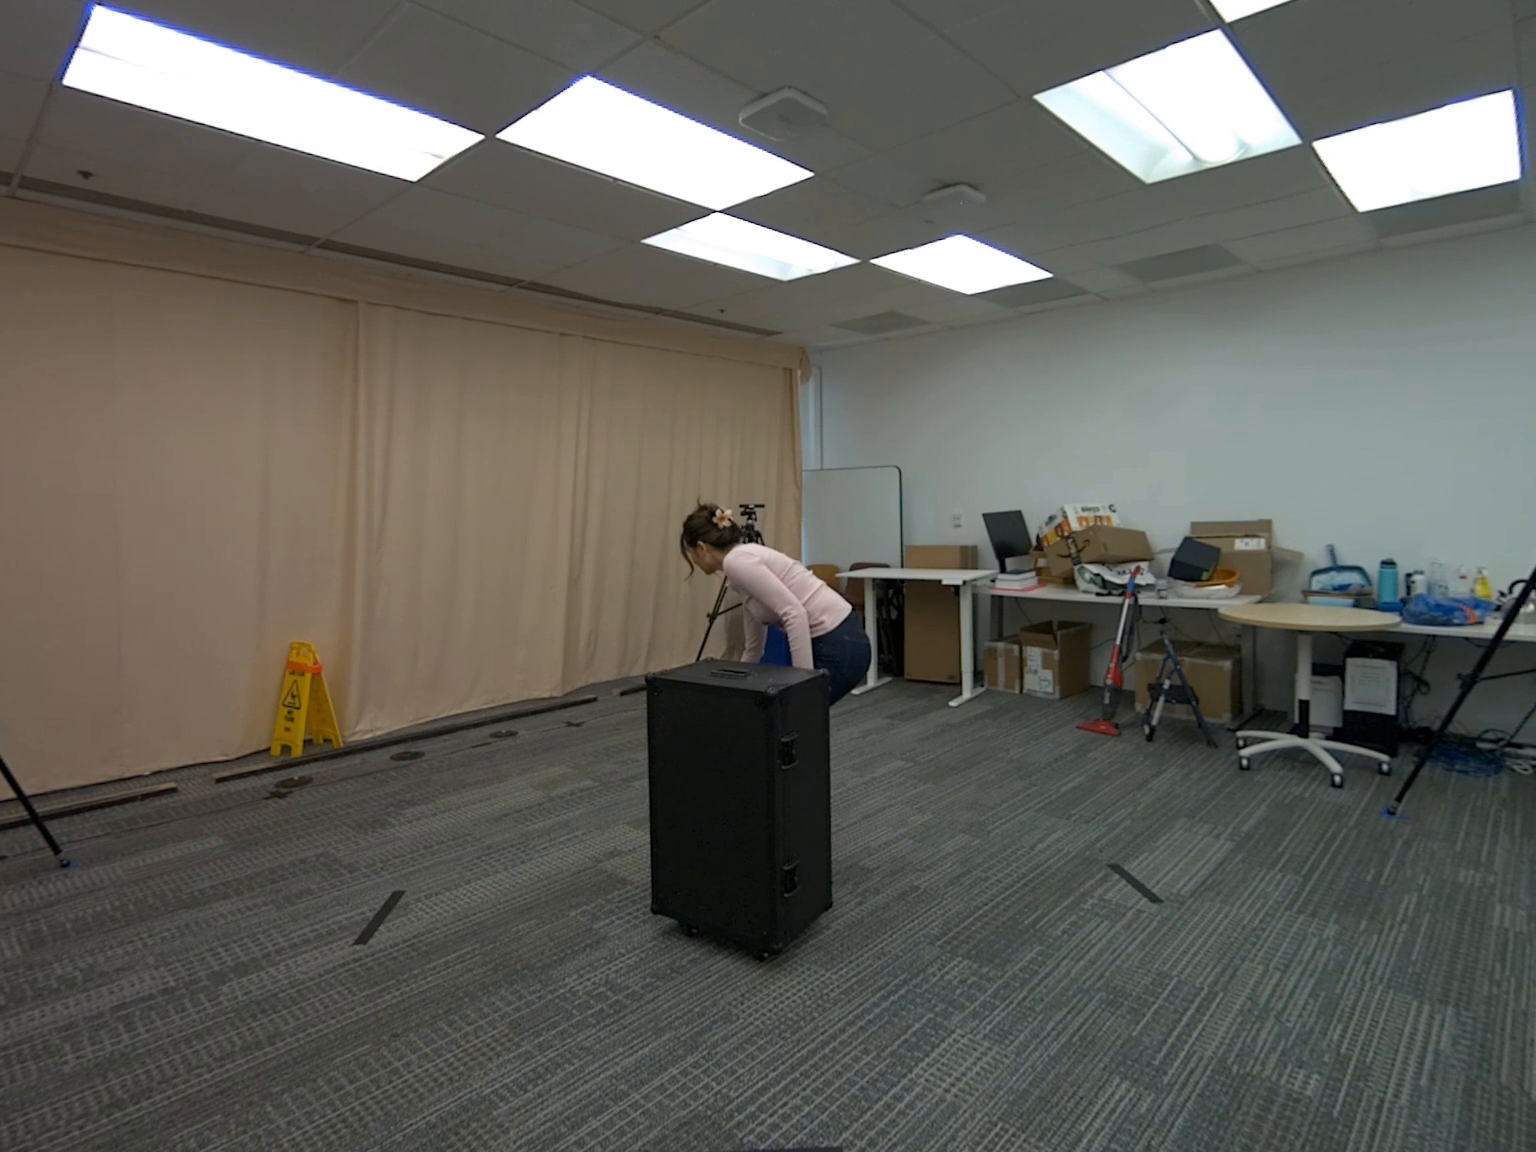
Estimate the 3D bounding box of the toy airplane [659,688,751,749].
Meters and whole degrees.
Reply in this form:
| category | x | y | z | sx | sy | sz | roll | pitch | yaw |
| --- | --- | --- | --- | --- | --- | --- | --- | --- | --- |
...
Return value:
| category | x | y | z | sx | sy | sz | roll | pitch | yaw |
| --- | --- | --- | --- | --- | --- | --- | --- | --- | --- |
| toy airplane | -0.272 | 0.604 | 3.631 | 0.258 | 0.155 | 0.253 | -8 | 10 | 41 |
